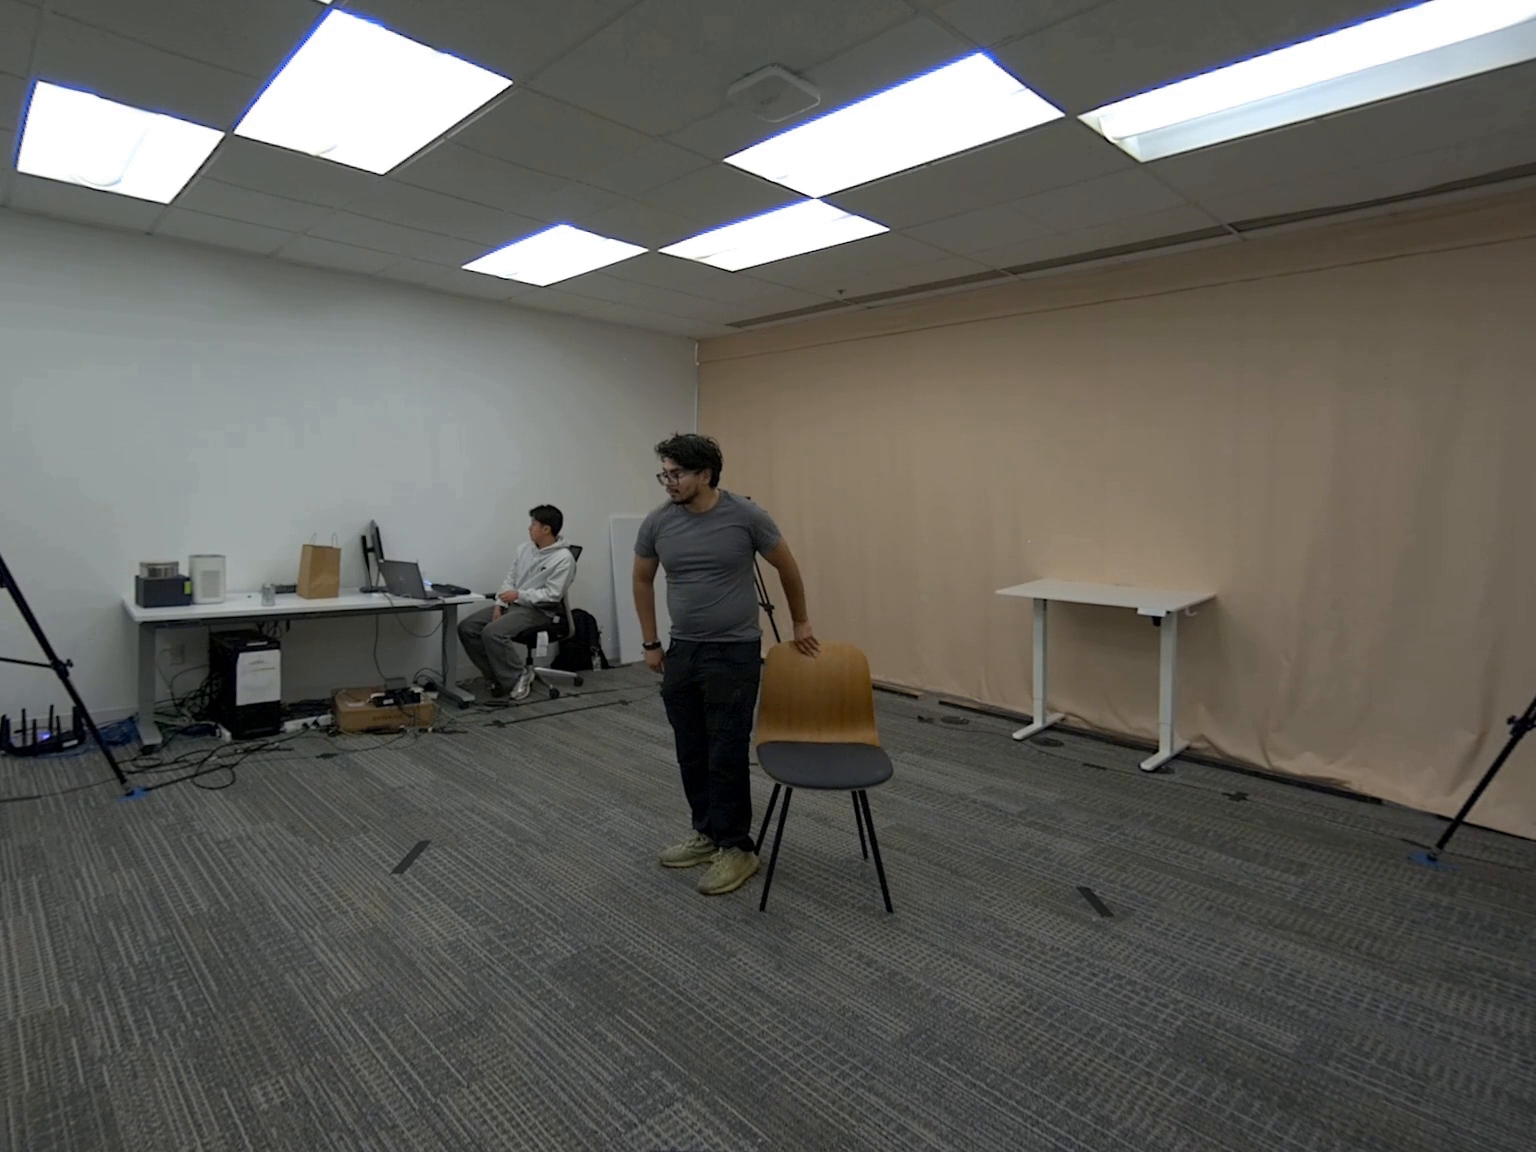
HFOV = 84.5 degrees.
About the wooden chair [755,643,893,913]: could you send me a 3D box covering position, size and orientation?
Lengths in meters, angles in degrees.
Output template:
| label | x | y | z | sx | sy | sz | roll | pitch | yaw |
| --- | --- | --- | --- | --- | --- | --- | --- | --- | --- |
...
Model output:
| label | x | y | z | sx | sy | sz | roll | pitch | yaw |
| --- | --- | --- | --- | --- | --- | --- | --- | --- | --- |
| wooden chair | 0.186 | 0.693 | 3.025 | 0.477 | 0.878 | 0.524 | 2 | 0 | -3 |
